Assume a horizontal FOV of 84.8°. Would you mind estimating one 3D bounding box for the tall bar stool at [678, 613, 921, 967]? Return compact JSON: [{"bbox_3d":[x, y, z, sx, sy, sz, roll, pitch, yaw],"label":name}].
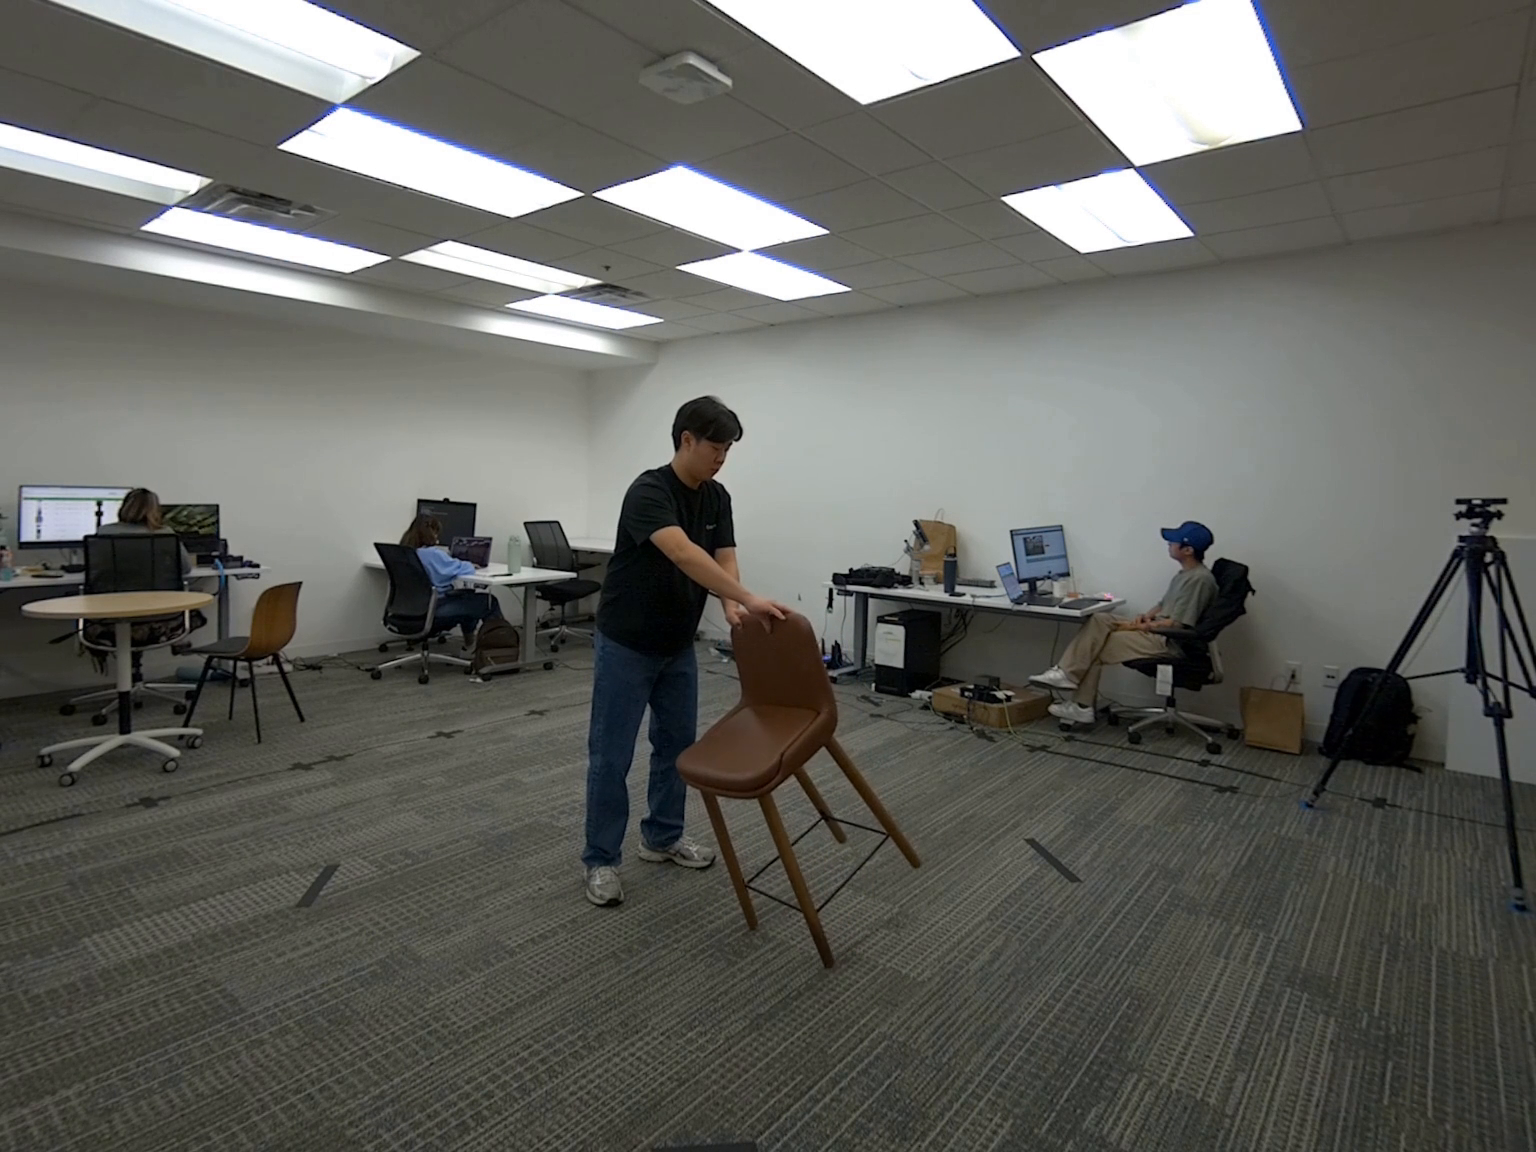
[{"bbox_3d":[0.033,0.613,2.576,0.462,0.878,0.468,-30,12,-32],"label":"tall bar stool"}]
